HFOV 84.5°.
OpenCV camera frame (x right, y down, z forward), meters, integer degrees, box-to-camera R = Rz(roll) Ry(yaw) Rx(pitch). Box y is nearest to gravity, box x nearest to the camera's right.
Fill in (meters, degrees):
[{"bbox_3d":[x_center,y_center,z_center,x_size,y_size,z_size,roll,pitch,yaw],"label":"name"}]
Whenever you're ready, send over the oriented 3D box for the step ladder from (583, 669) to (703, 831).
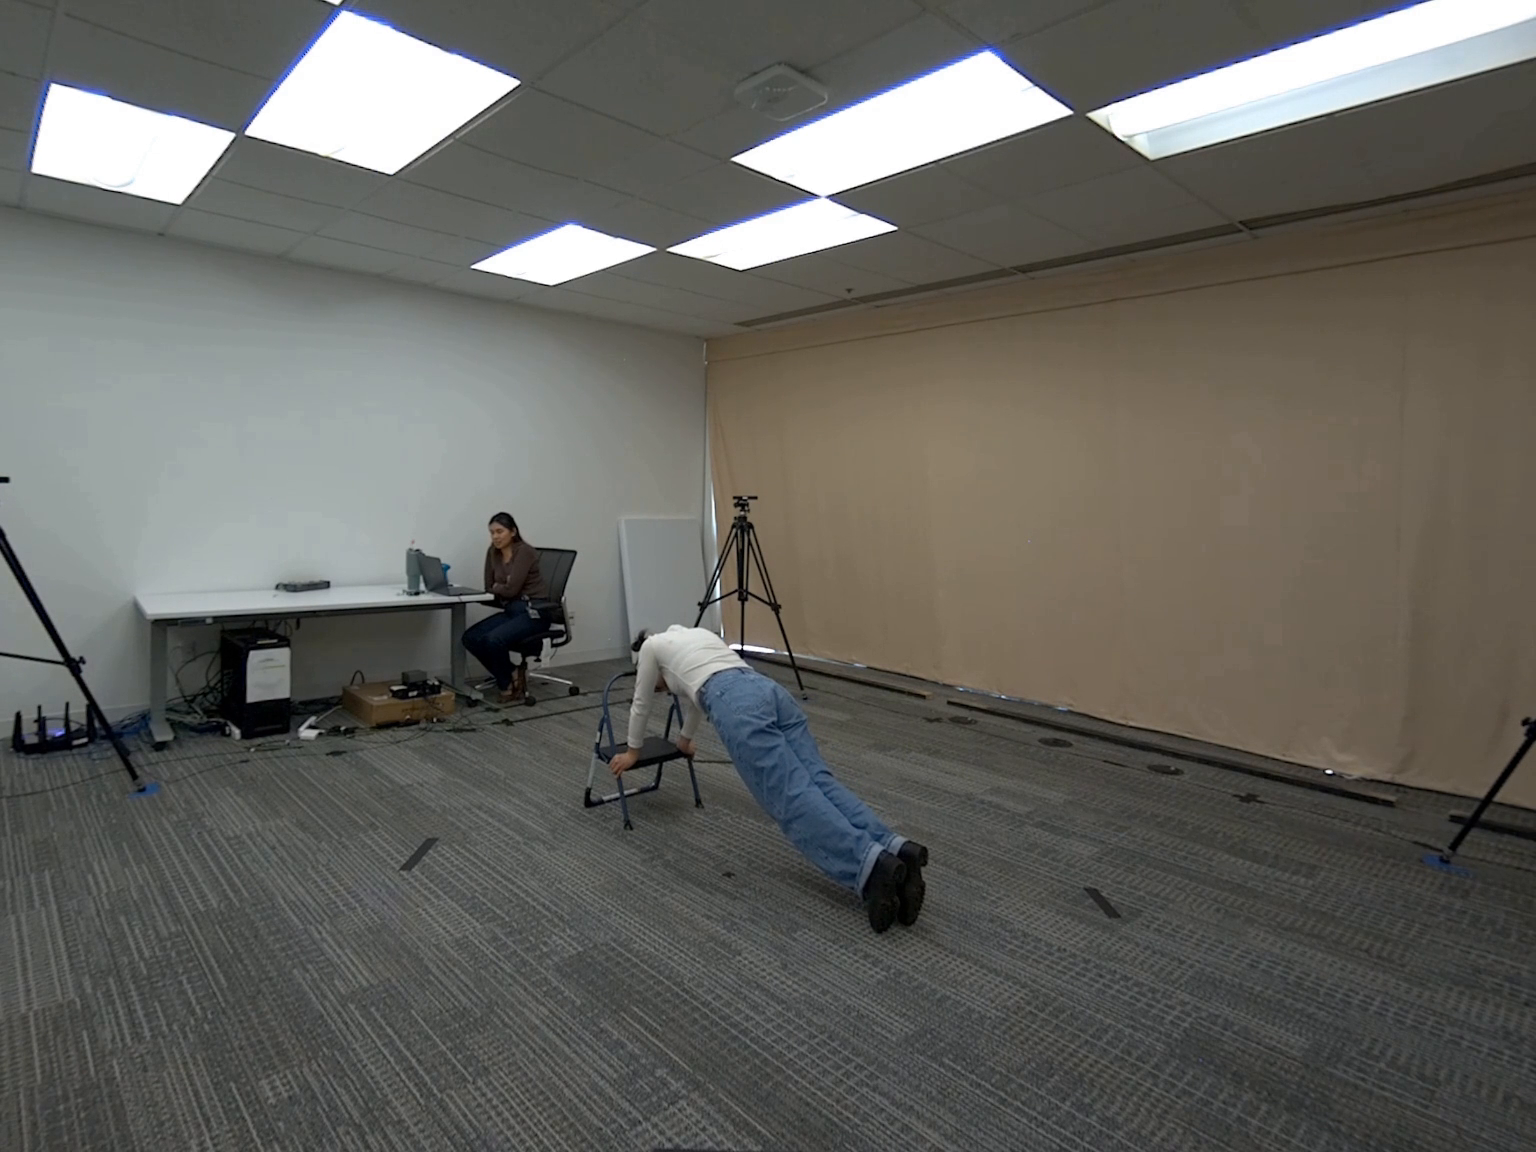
[{"bbox_3d":[-0.558,0.737,3.755,0.421,0.605,0.358,-2,5,-45],"label":"step ladder"}]
